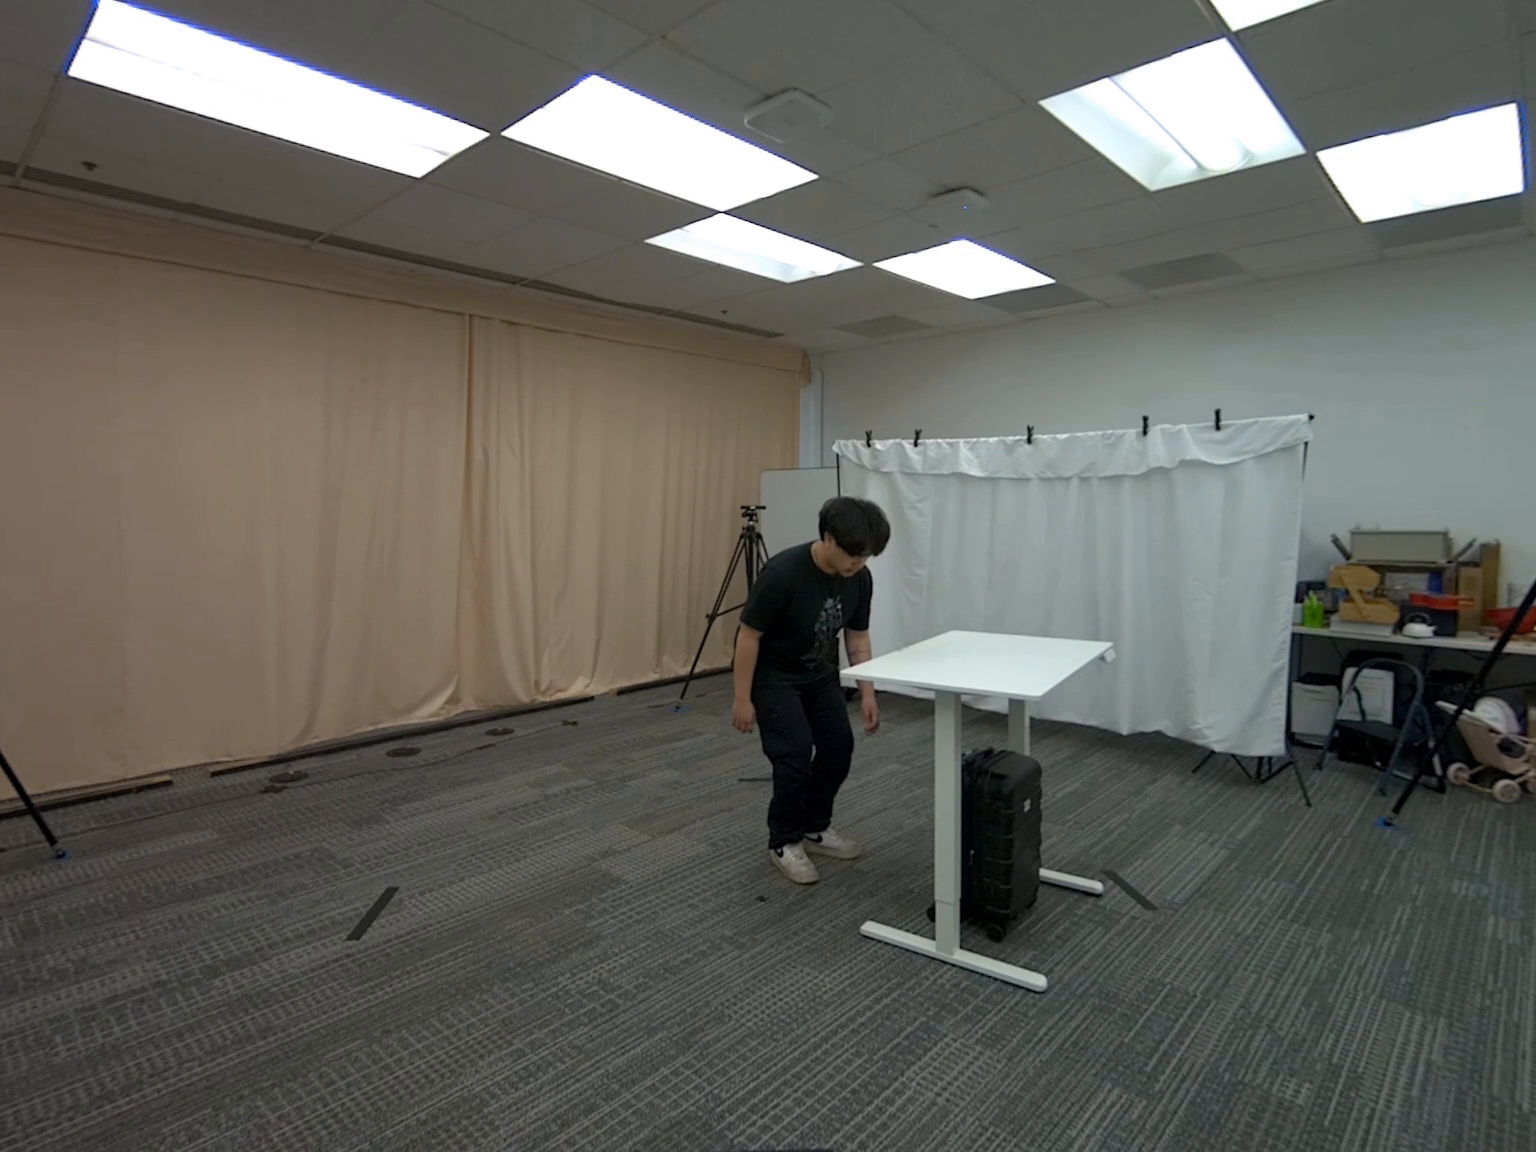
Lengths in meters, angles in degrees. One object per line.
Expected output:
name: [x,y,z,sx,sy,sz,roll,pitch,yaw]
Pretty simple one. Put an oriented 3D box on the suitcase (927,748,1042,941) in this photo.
suitcase: [0.761,0.880,2.853,0.256,0.548,0.364,5,5,37]
